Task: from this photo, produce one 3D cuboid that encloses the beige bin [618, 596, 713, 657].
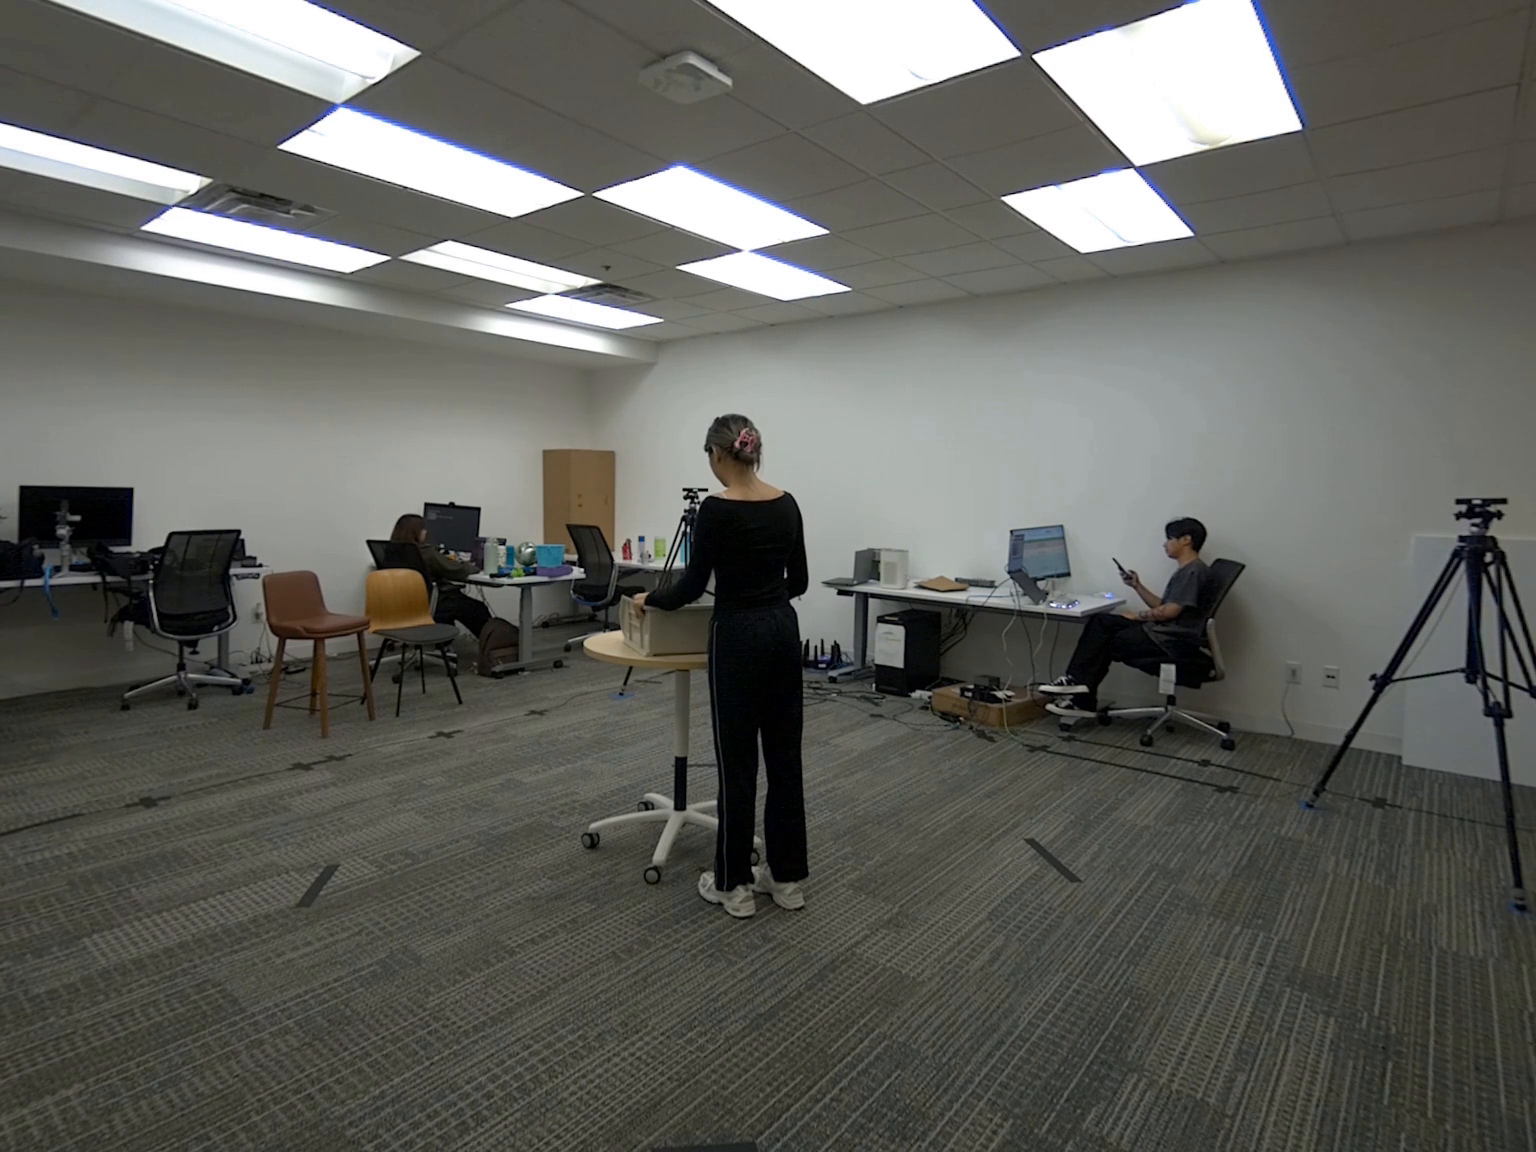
[{"bbox_3d":[-0.327,0.171,3.214,0.413,0.188,0.387,0,6,-23],"label":"beige bin"}]
